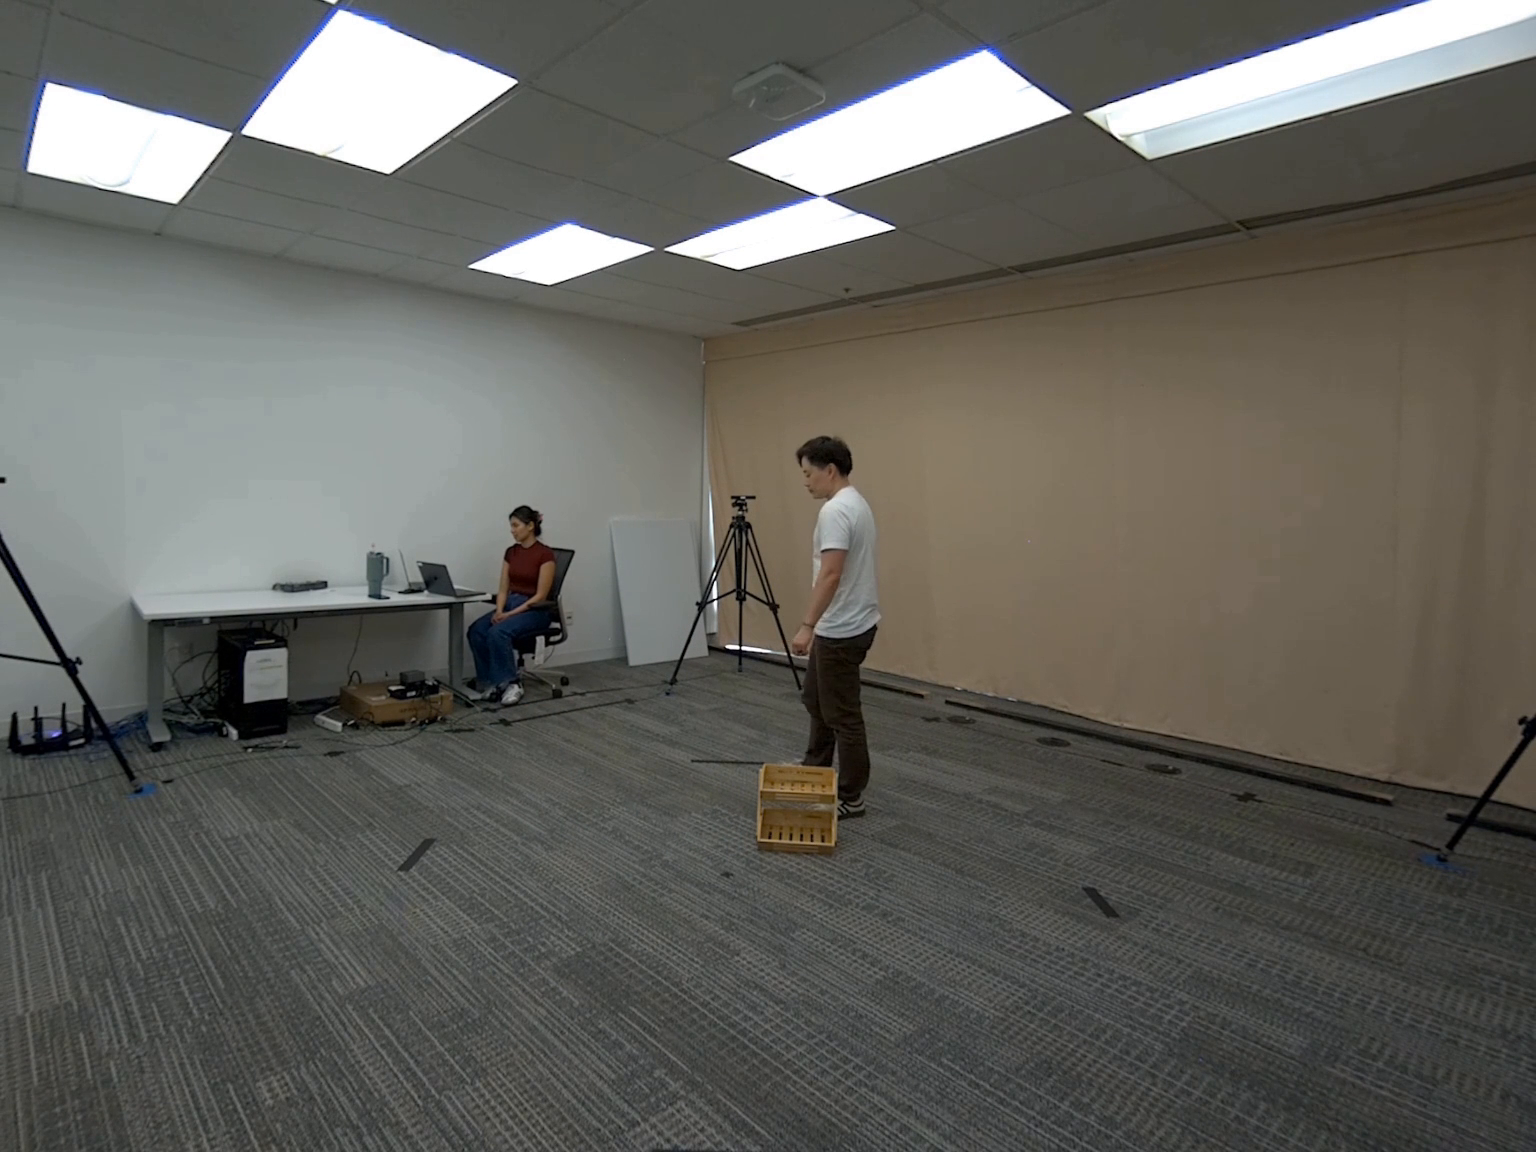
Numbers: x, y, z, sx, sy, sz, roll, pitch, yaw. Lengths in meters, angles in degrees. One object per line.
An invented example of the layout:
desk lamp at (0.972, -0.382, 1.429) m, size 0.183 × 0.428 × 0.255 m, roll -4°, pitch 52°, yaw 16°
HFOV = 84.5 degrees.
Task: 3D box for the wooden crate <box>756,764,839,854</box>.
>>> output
wooden crate at (0.111, 0.947, 3.431) m, size 0.326 × 0.273 × 0.301 m, roll 2°, pitch 3°, yaw 5°
